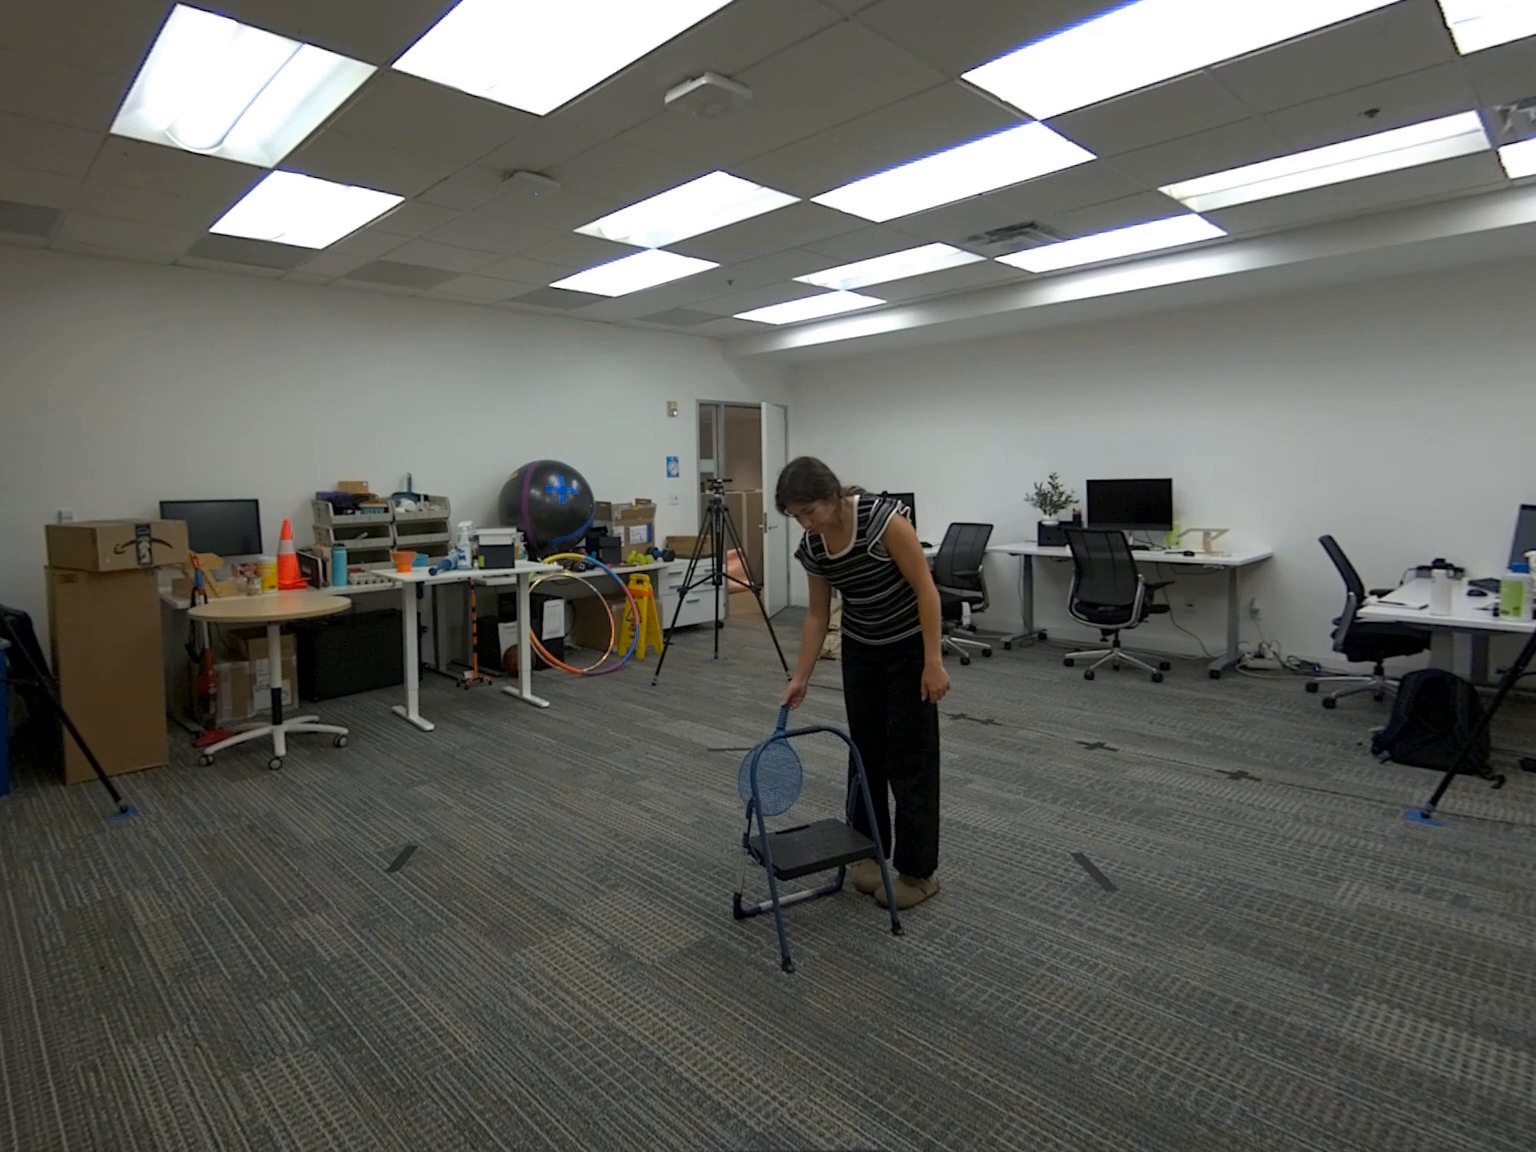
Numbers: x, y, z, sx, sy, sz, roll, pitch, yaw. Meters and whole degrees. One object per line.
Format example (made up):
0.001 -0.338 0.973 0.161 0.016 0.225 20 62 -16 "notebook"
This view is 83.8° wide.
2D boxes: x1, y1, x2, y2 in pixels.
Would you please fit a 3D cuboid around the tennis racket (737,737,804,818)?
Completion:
0.043 0.616 2.875 0.214 0.442 0.031 9 -40 2 "tennis racket"
